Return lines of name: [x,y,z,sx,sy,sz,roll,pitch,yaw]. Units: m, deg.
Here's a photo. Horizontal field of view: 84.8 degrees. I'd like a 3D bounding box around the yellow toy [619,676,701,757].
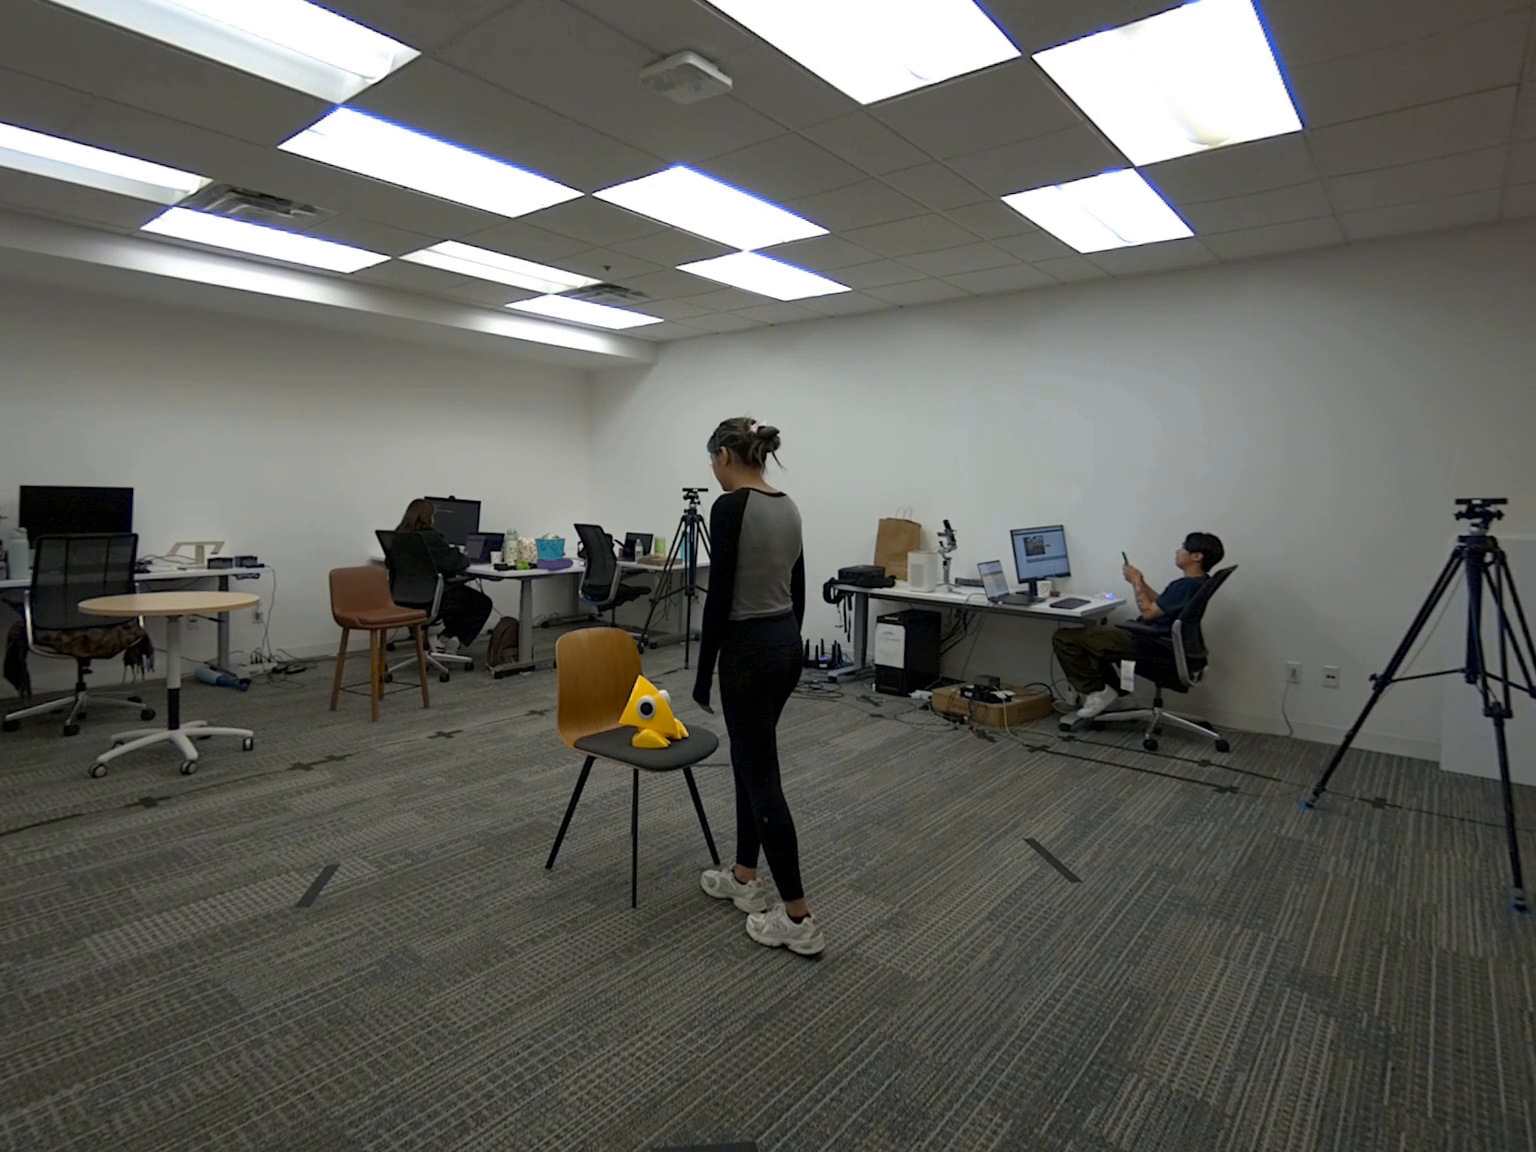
yellow toy: [-0.419,0.475,3.062,0.198,0.230,0.200,-2,3,32]
